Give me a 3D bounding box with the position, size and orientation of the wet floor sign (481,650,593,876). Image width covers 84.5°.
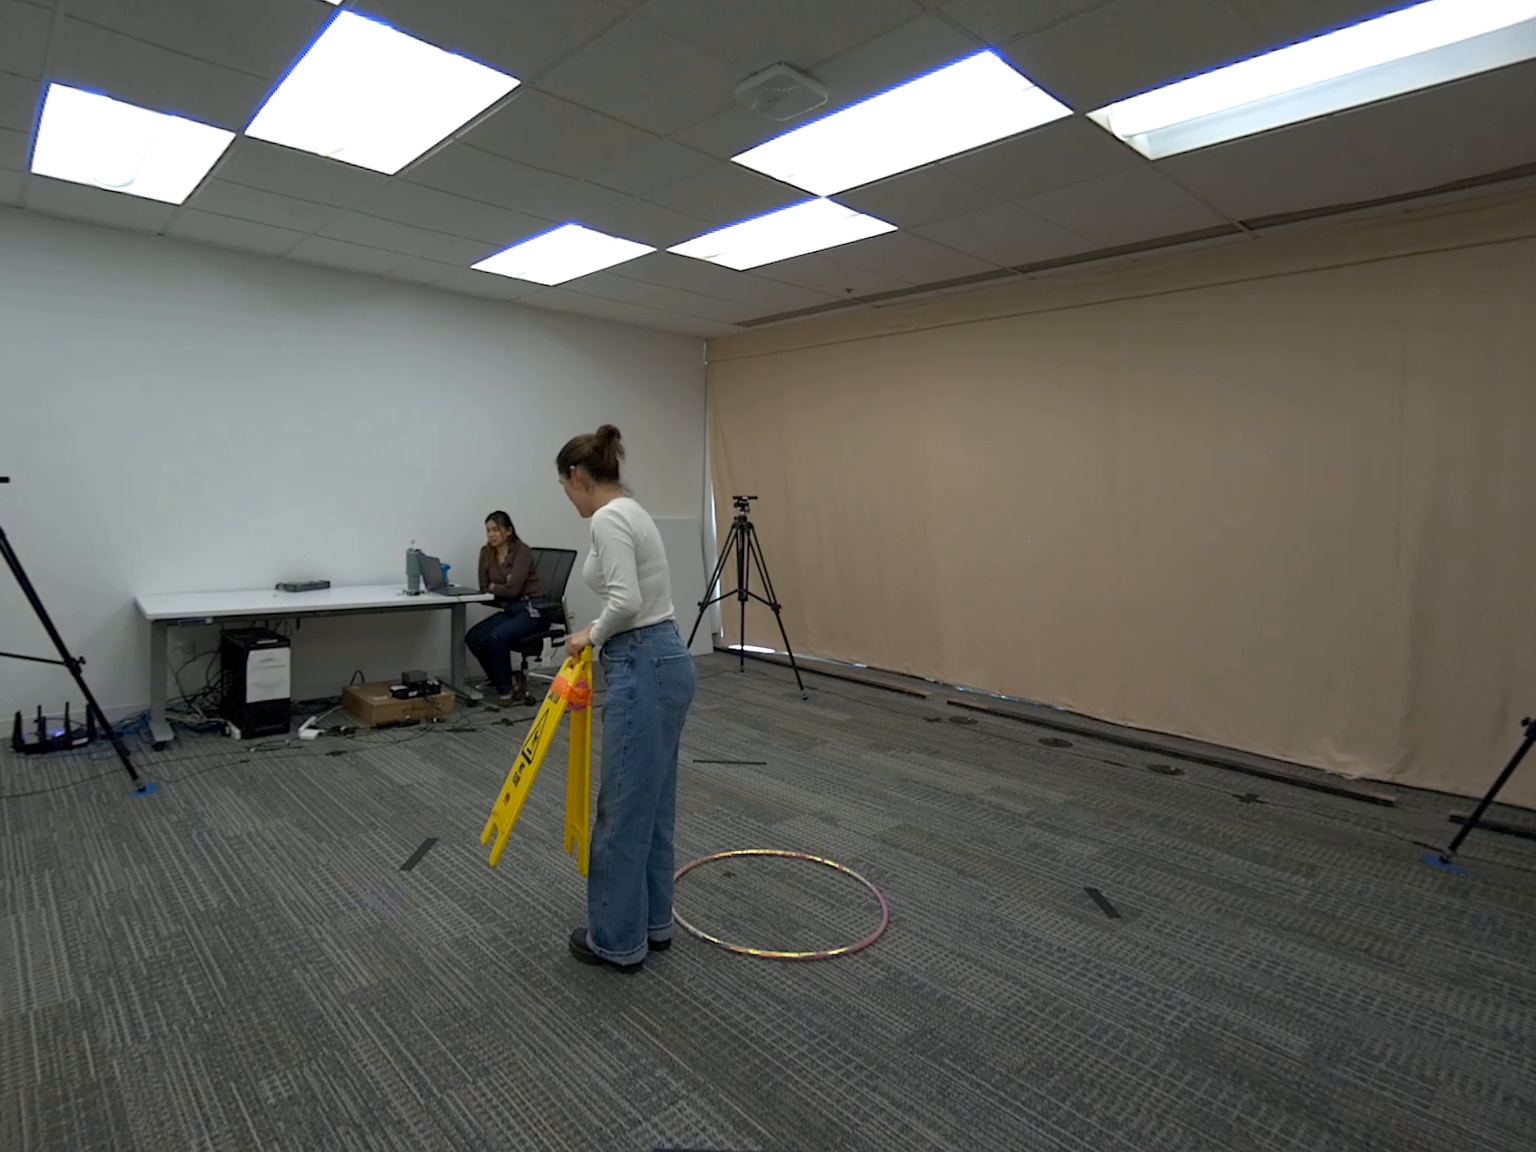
[{"bbox_3d":[-0.639,0.522,2.536,0.284,0.649,0.286,15,-9,-23],"label":"wet floor sign"}]
